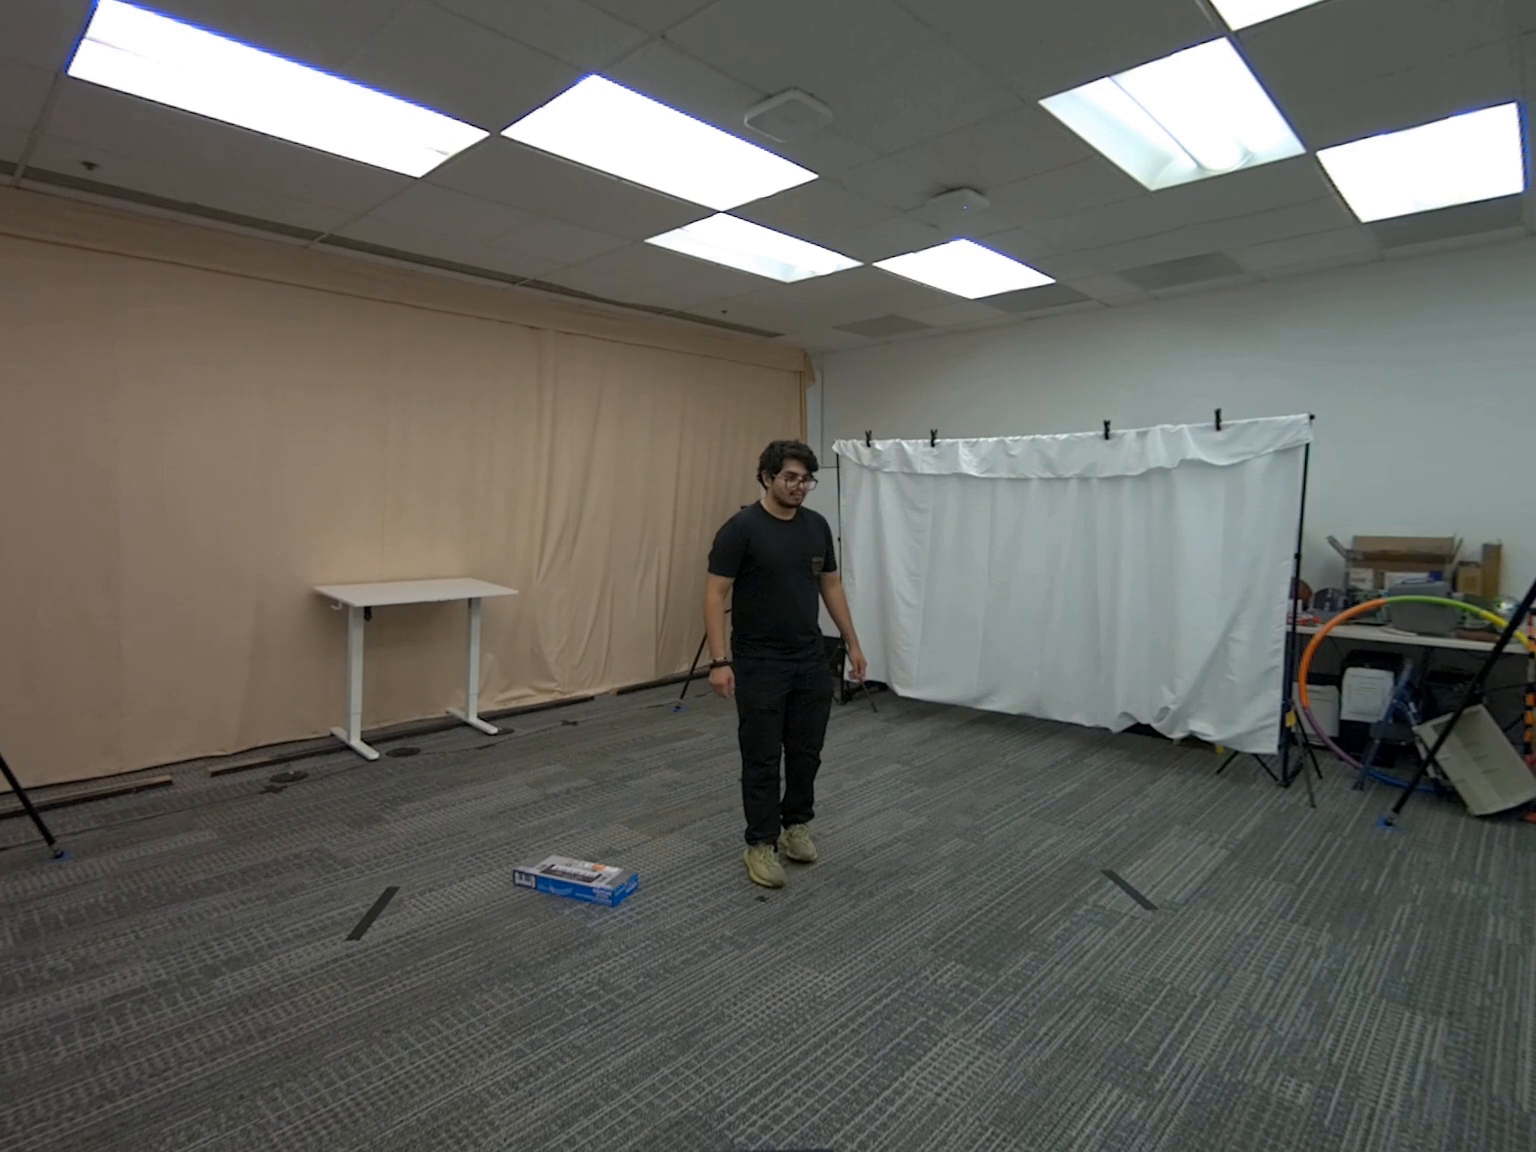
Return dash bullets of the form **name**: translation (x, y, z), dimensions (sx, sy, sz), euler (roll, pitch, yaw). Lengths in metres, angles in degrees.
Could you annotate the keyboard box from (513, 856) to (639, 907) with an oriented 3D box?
- **keyboard box**: translation (-0.708, 1.111, 3.092), dimensions (0.448, 0.059, 0.172), euler (2, 4, 25)
